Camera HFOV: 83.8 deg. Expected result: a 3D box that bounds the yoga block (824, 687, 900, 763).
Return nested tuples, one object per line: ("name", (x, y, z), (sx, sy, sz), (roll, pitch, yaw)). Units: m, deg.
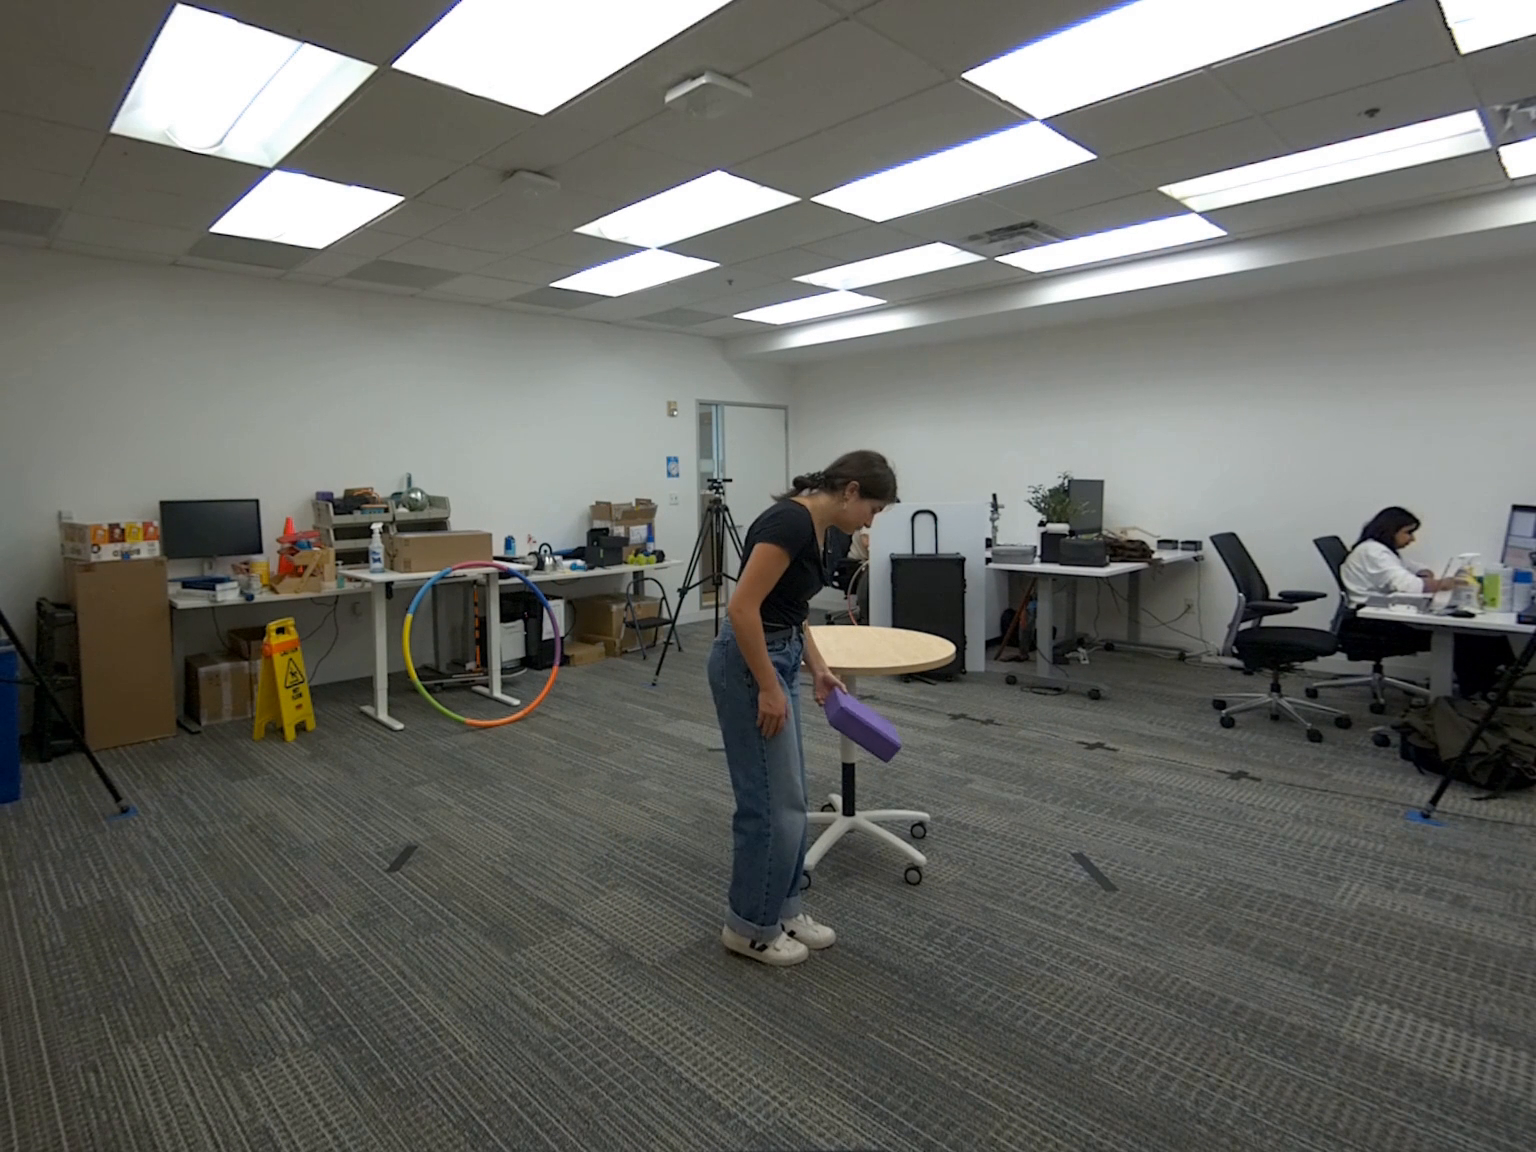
("yoga block", (0.271, 0.456, 2.586), (0.226, 0.076, 0.151), (38, 11, -11))
